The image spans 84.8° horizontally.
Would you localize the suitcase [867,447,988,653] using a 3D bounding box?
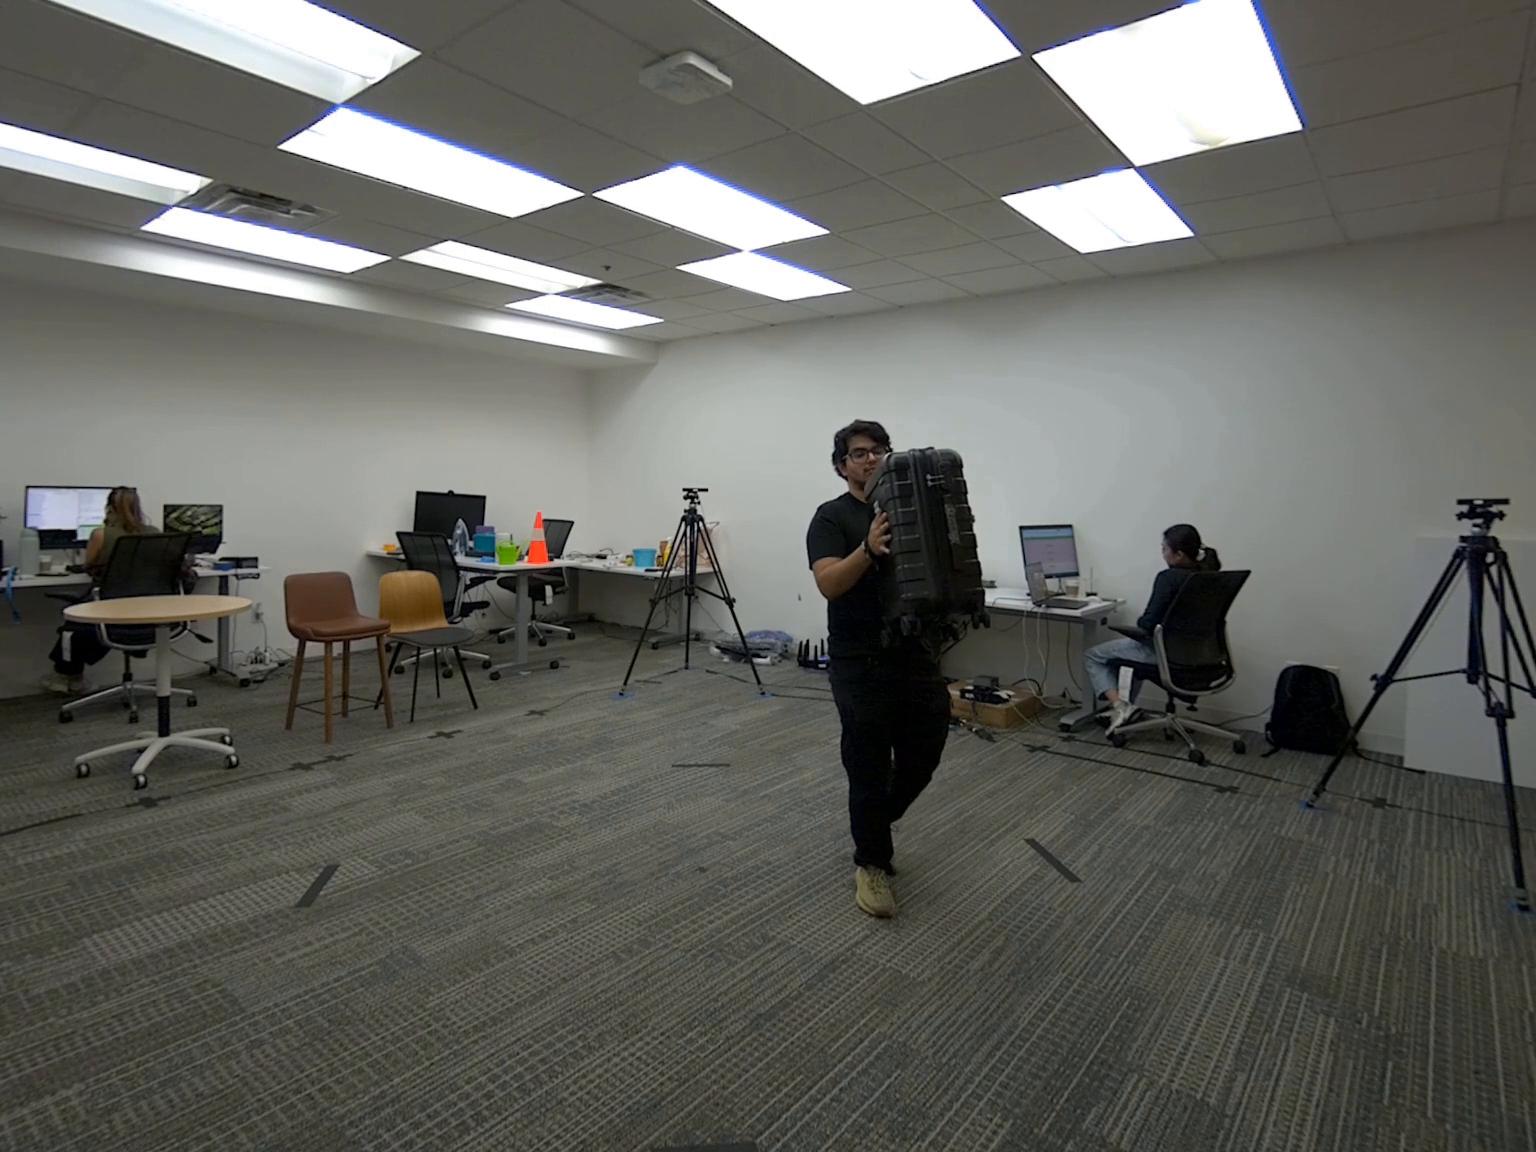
[{"bbox_3d":[0.452,-0.099,2.550,0.247,0.557,0.372,-5,-13,-5],"label":"suitcase"}]
